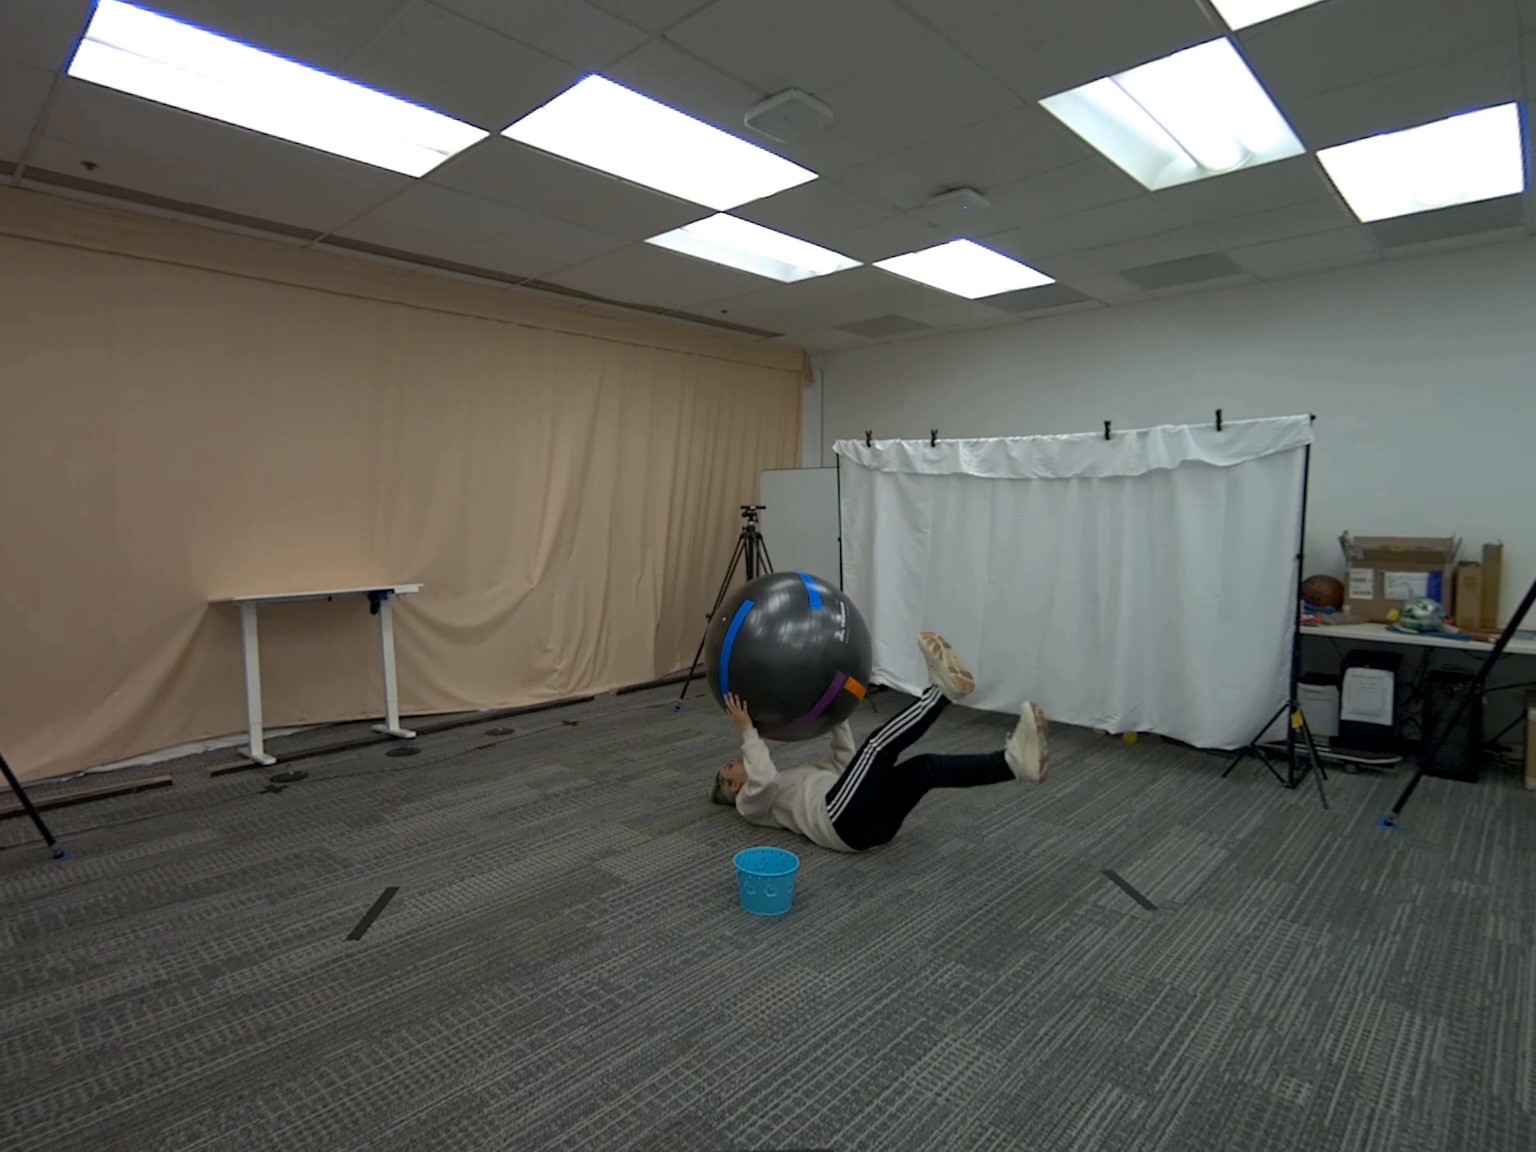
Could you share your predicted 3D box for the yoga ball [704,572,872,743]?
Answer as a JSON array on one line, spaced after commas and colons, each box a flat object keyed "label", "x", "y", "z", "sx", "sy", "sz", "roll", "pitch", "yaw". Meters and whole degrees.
[{"label": "yoga ball", "x": 0.089, "y": 0.360, "z": 3.799, "sx": 0.757, "sy": 0.756, "sz": 0.760, "roll": 0, "pitch": 4, "yaw": -2}]
